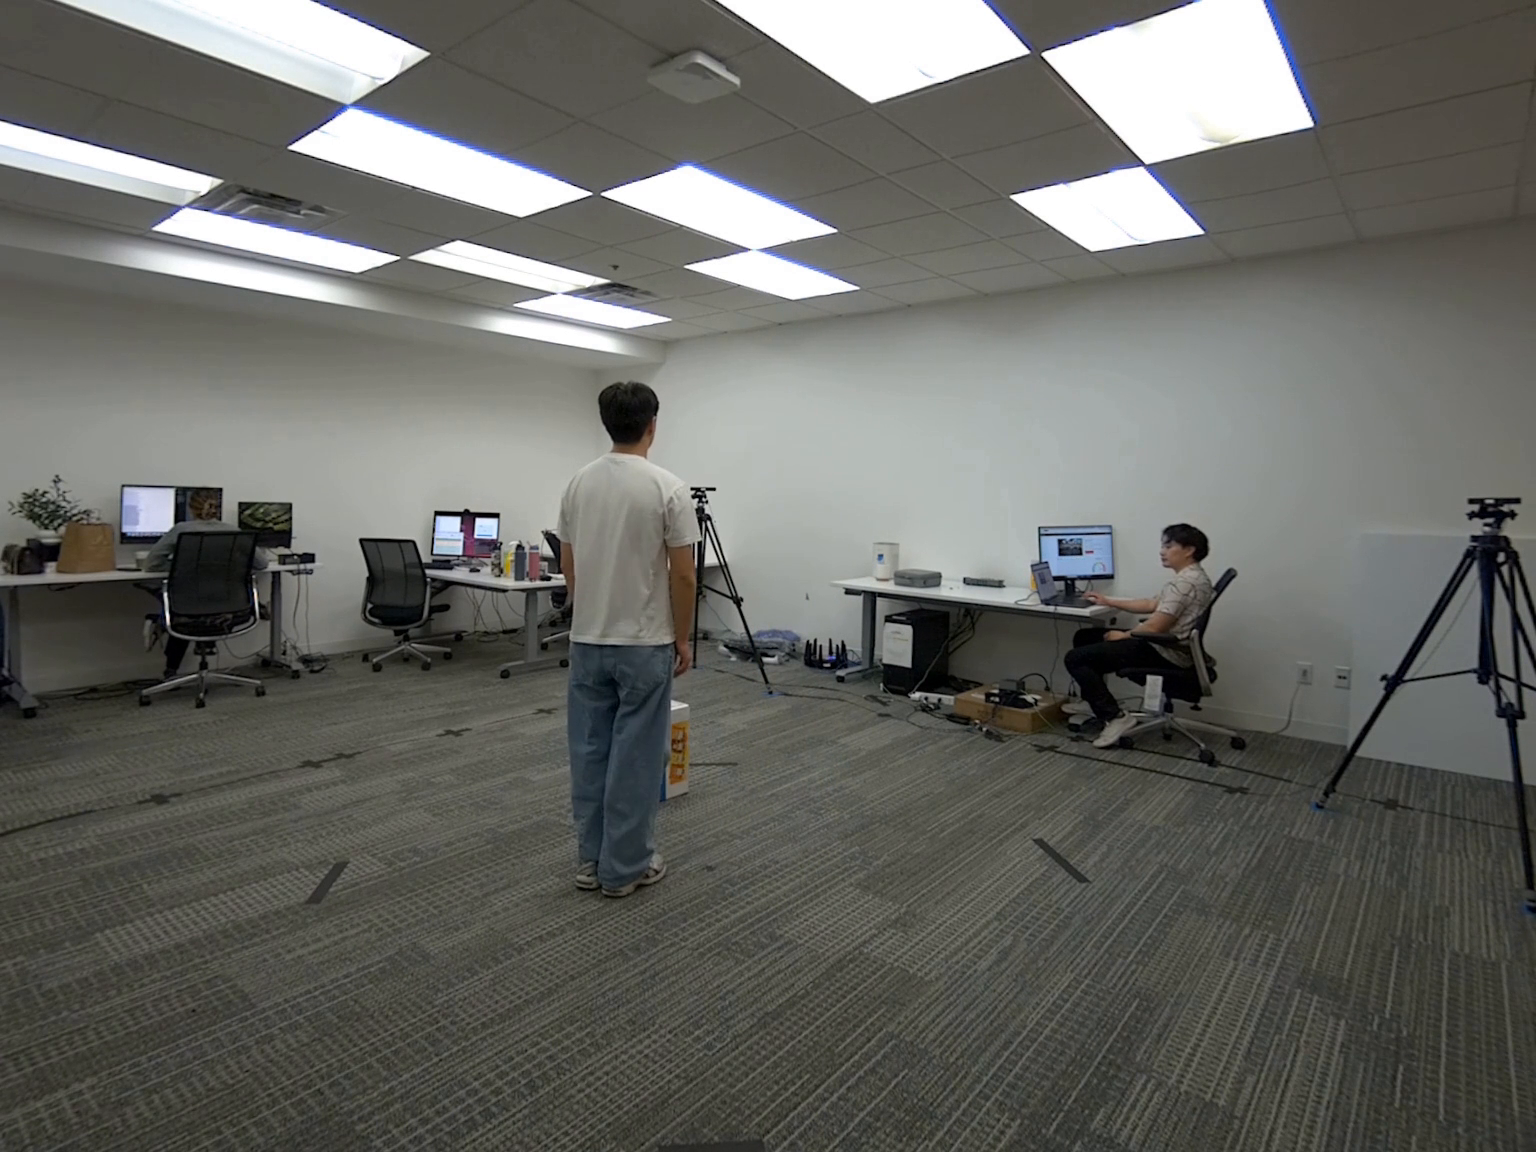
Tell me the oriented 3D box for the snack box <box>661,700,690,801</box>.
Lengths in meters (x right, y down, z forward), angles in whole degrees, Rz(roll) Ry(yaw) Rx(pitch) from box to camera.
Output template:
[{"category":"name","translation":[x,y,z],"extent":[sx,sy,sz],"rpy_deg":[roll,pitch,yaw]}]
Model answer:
[{"category":"snack box","translation":[-0.556,0.784,3.817],"extent":[0.213,0.404,0.330],"rpy_deg":[5,5,42]}]
